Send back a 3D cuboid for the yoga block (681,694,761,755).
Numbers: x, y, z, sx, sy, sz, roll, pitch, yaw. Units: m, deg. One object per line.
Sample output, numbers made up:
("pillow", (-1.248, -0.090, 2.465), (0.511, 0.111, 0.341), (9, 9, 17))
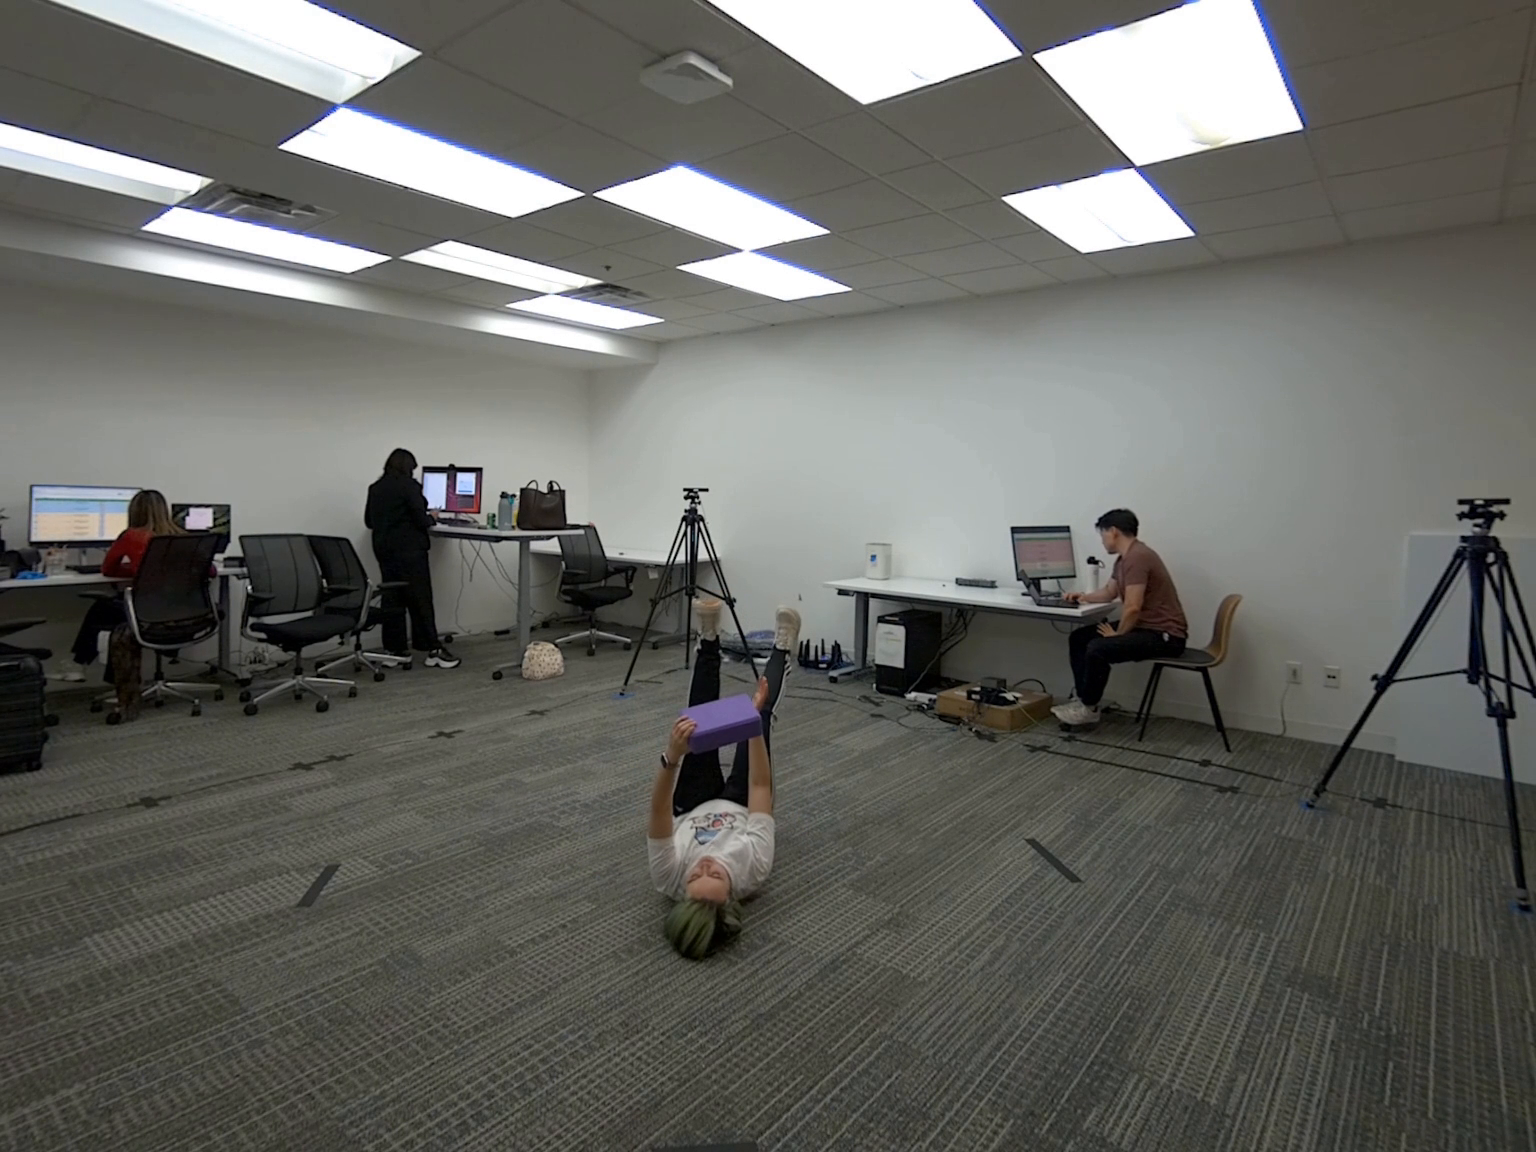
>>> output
("yoga block", (-0.159, 0.457, 2.656), (0.226, 0.074, 0.154), (-13, 27, -16))
